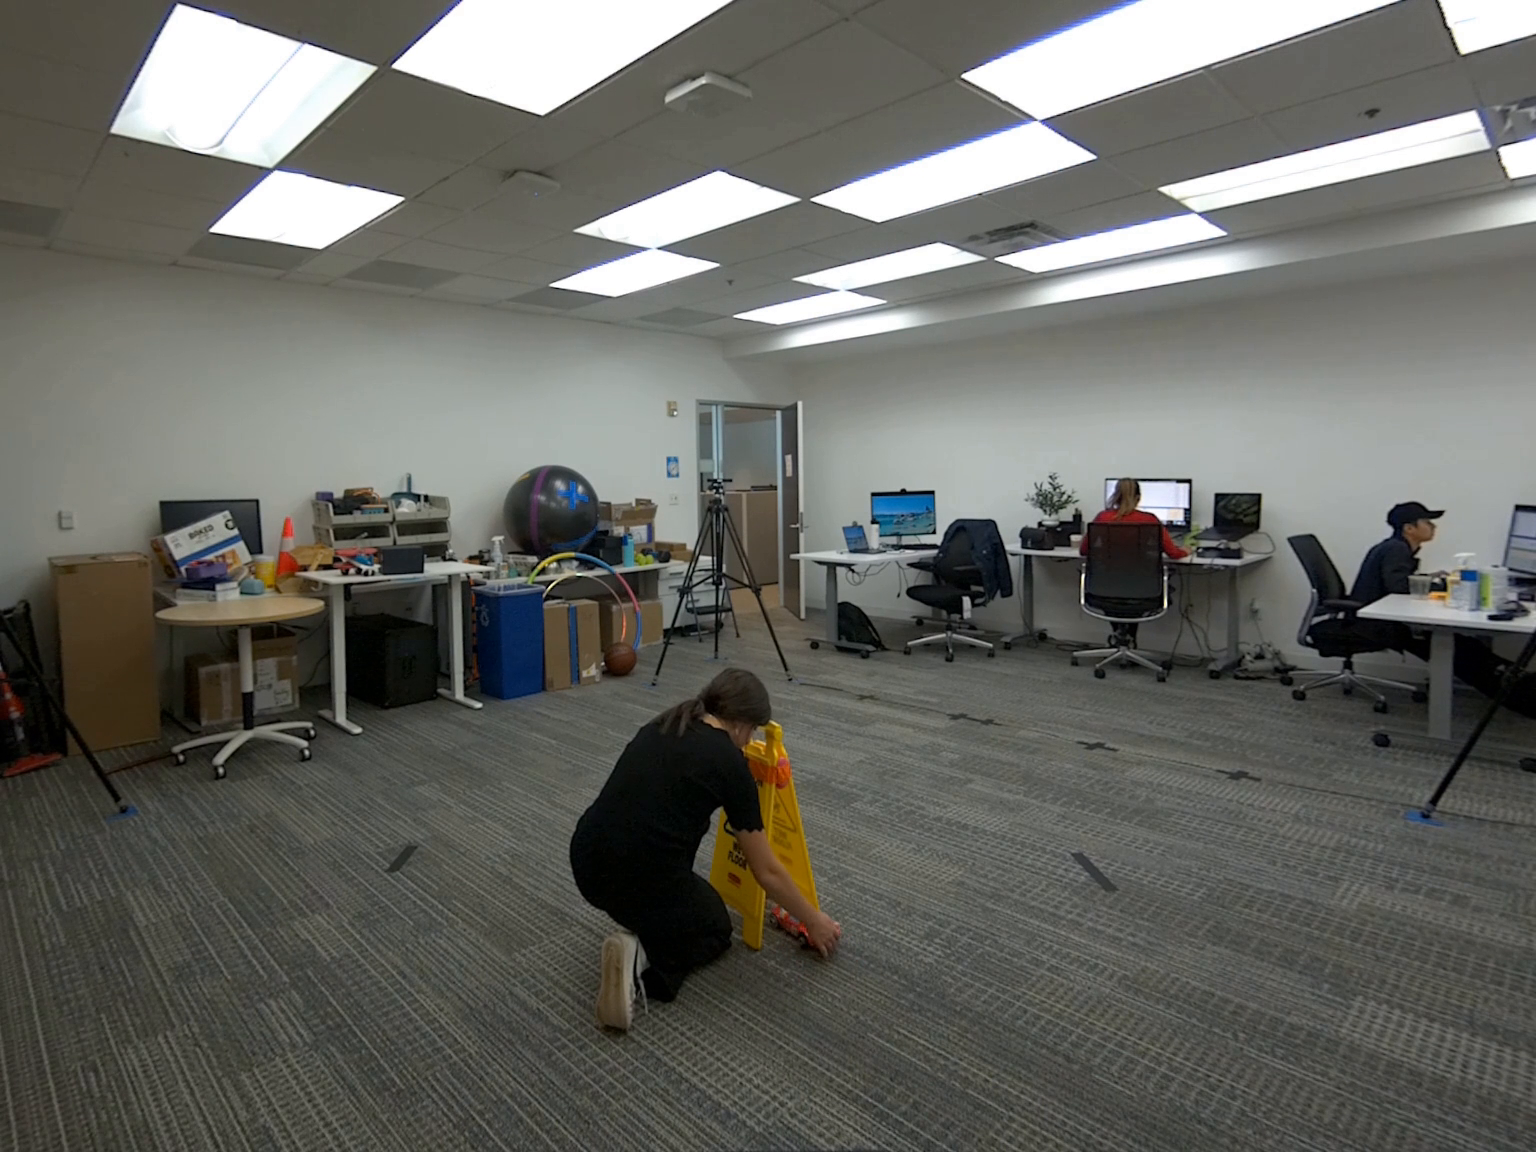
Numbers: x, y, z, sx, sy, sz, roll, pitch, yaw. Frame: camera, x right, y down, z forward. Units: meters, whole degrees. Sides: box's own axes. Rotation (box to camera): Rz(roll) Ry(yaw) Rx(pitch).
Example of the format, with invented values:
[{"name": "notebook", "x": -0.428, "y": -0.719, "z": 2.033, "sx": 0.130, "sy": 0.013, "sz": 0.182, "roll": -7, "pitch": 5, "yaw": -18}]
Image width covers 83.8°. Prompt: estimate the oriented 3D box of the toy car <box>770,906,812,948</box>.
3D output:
[{"name": "toy car", "x": 0.113, "y": 1.068, "z": 2.601, "sx": 0.127, "sy": 0.084, "sz": 0.259, "roll": -4, "pitch": -6, "yaw": -35}]
